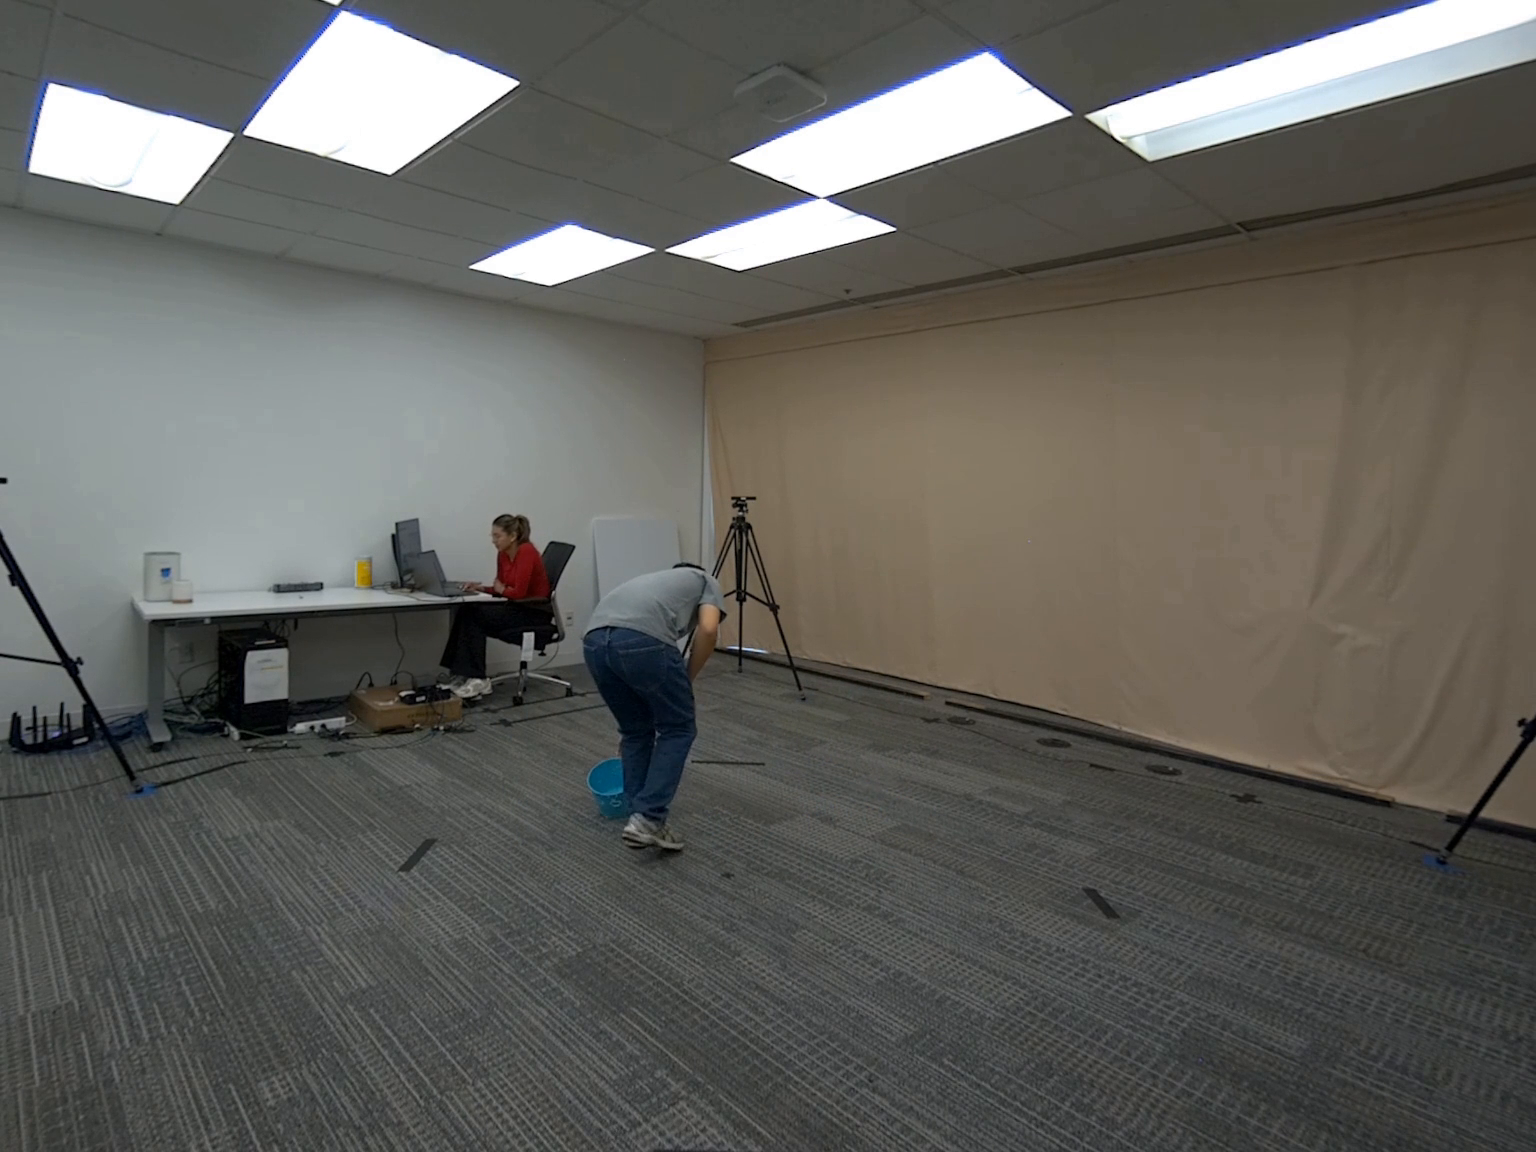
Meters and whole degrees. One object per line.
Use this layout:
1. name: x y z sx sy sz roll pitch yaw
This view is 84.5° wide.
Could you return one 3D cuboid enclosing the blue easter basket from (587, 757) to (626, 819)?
1. blue easter basket: -0.674 0.939 3.689 0.244 0.153 0.248 -3 29 0
